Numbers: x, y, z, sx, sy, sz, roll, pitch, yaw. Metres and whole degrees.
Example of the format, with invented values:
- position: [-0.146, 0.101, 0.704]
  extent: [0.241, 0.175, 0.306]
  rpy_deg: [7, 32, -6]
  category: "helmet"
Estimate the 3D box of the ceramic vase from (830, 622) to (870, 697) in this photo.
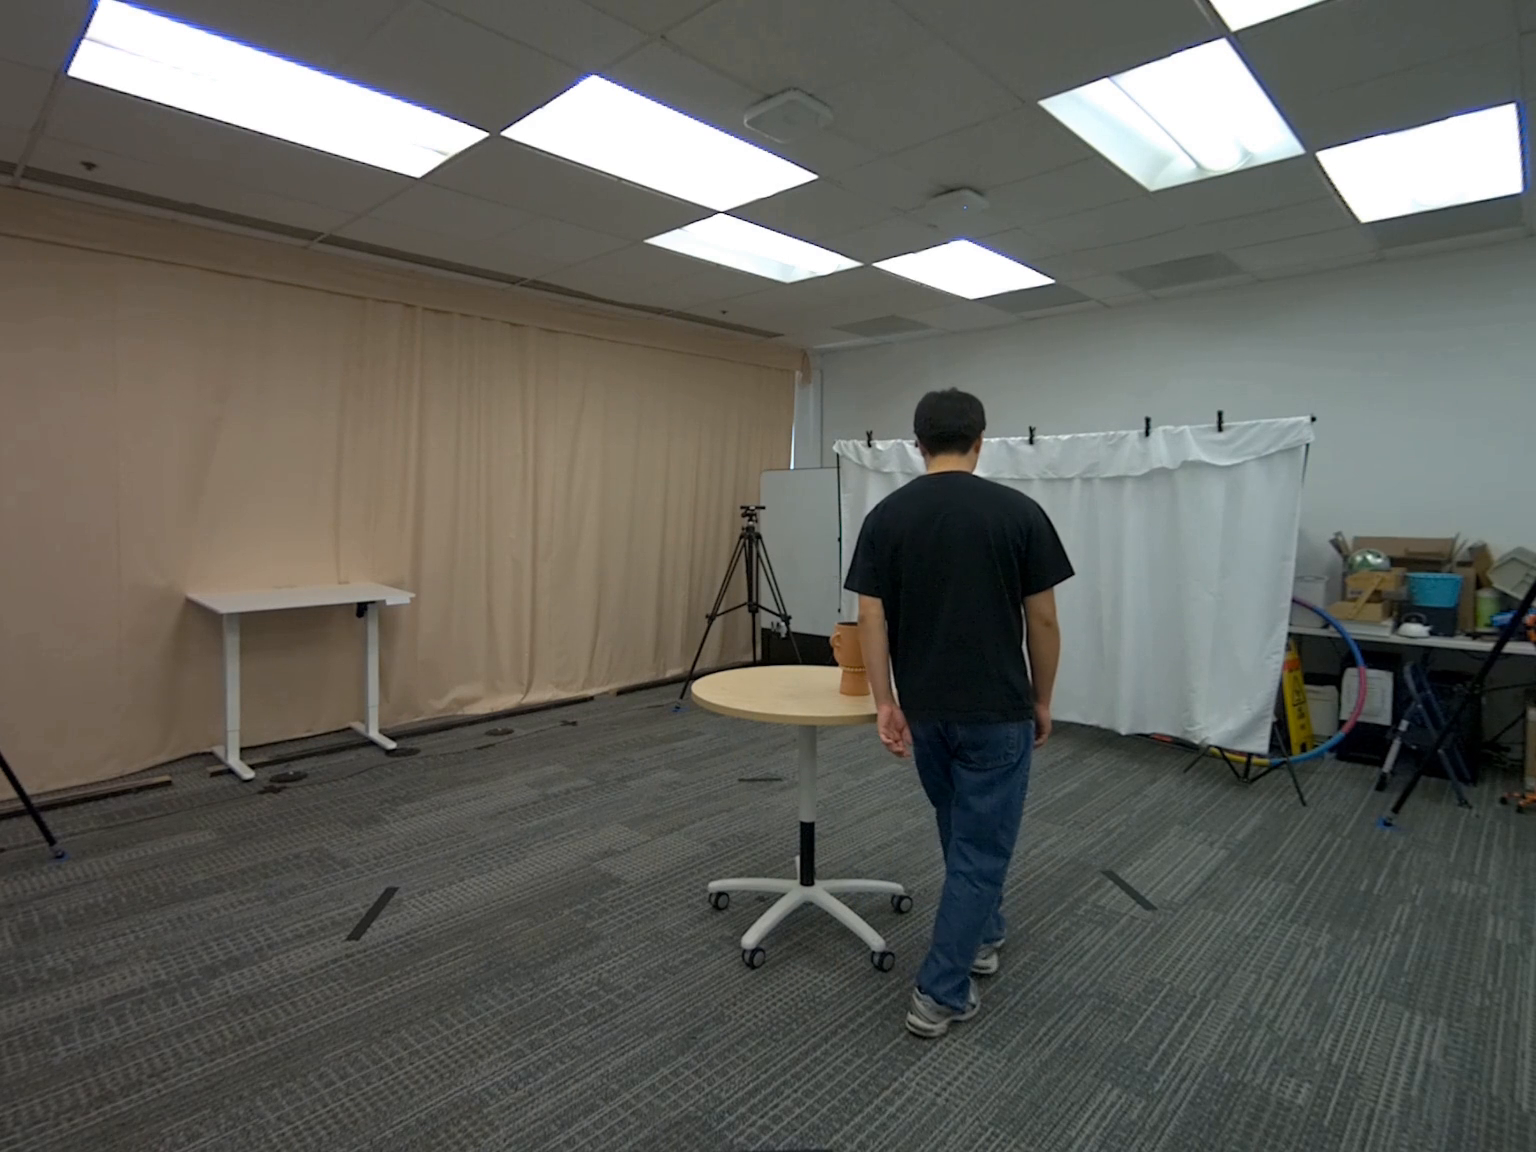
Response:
- position: [0.289, 0.265, 2.674]
  extent: [0.160, 0.219, 0.133]
  rpy_deg: [2, 3, 8]
  category: "ceramic vase"
